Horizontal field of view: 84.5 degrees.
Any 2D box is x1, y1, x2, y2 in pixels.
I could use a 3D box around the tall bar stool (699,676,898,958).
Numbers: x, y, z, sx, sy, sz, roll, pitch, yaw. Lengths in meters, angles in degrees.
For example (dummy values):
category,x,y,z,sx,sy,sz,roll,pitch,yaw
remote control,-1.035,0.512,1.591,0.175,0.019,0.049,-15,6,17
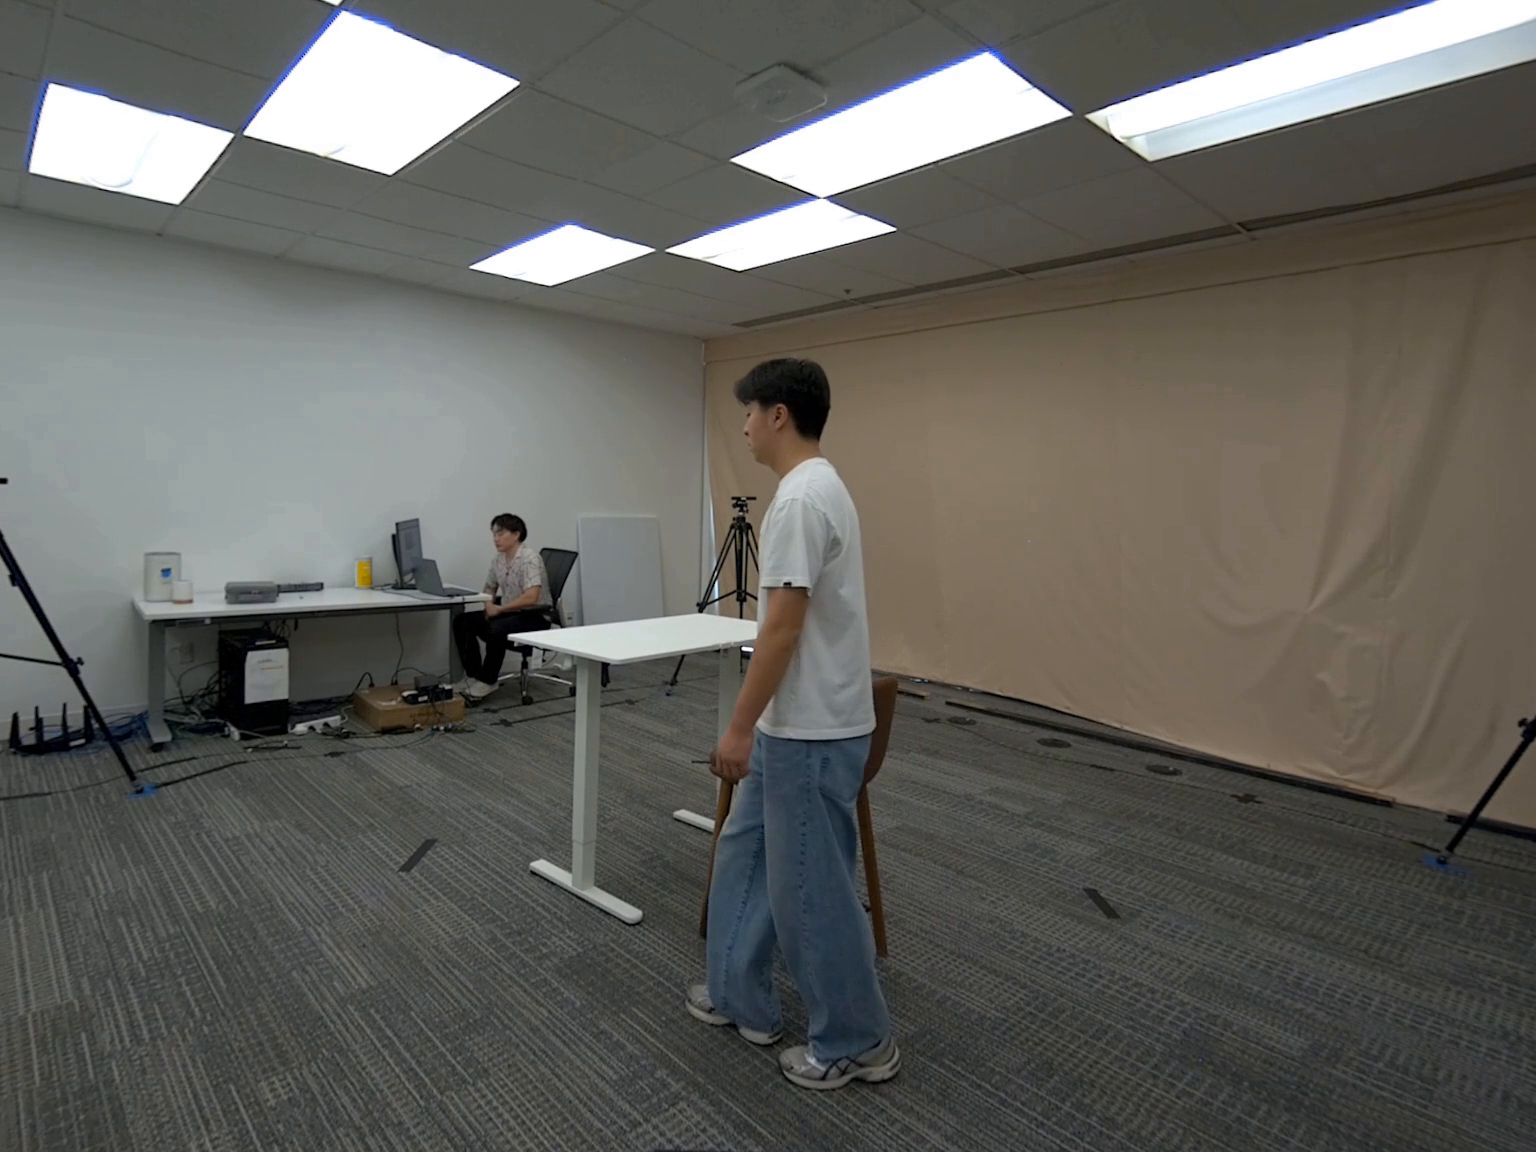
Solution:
category,x,y,z,sx,sy,sz,roll,pitch,yaw
tall bar stool,0.092,0.720,2.602,0.446,0.886,0.480,-2,7,-43
